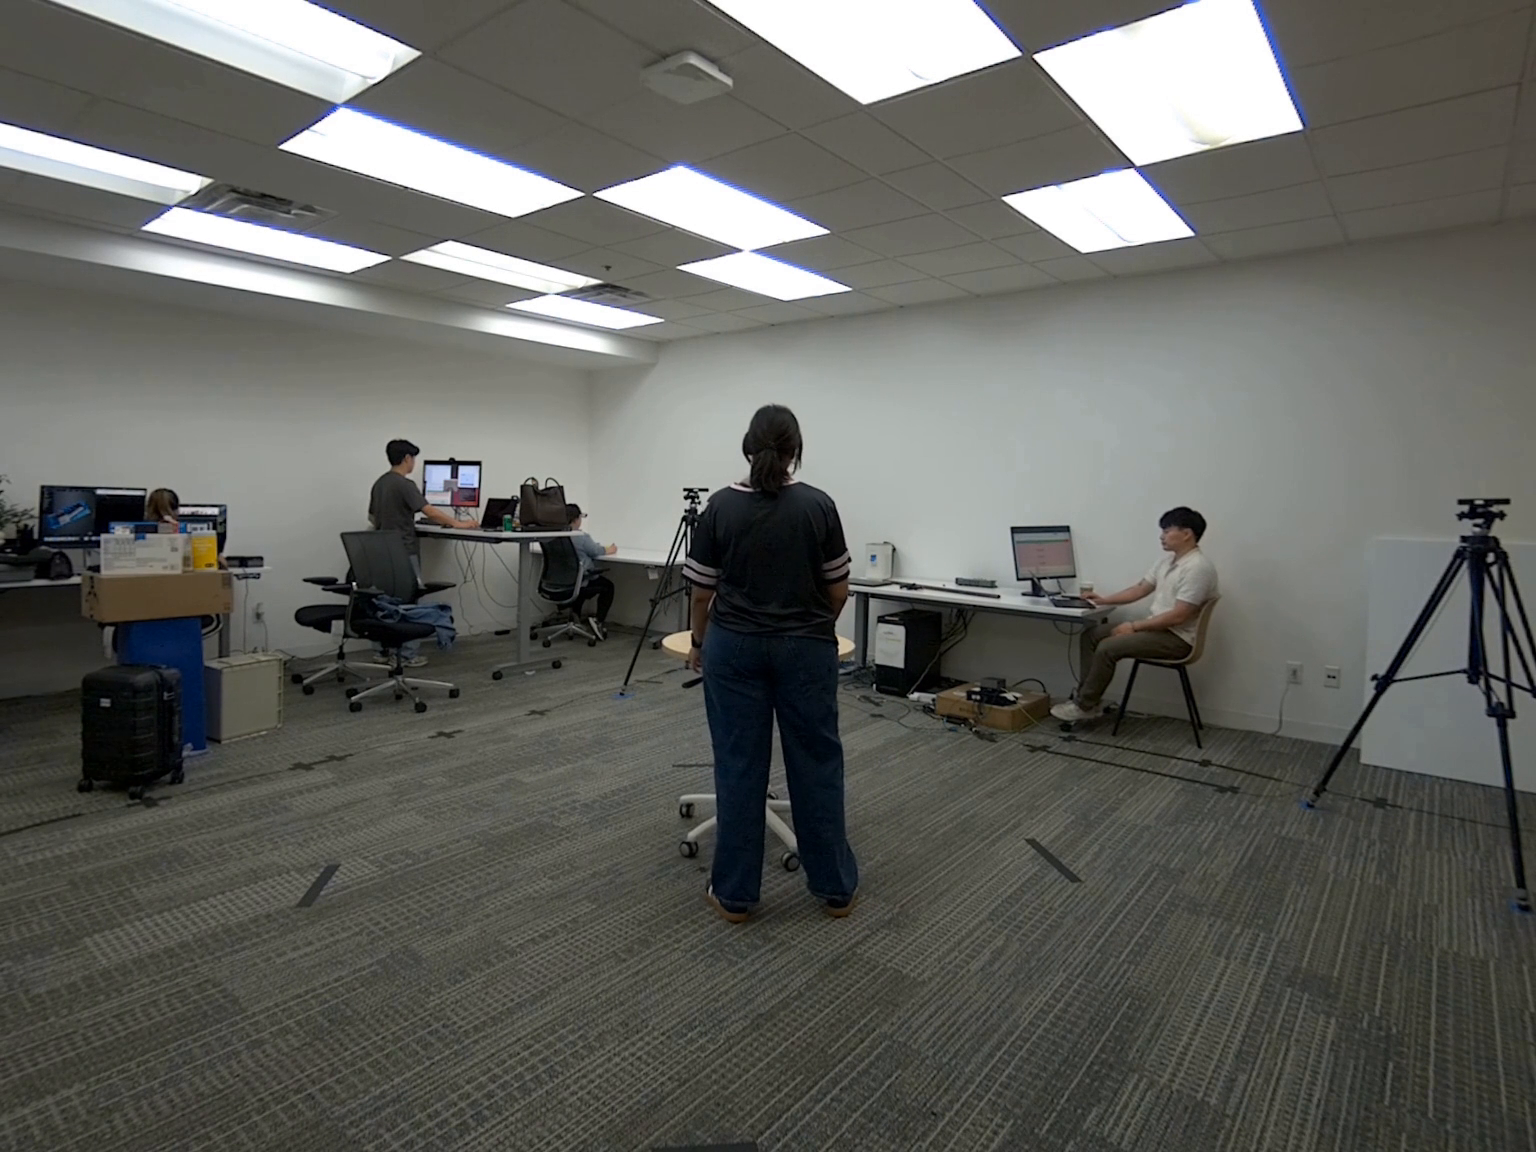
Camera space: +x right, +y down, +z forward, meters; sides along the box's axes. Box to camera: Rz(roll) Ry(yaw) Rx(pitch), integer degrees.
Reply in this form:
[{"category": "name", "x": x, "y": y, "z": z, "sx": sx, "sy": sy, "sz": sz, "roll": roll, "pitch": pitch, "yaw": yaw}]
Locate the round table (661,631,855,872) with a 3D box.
[{"category": "round table", "x": -0.057, "y": 0.650, "z": 3.412, "sx": 0.763, "sy": 0.792, "sz": 0.767, "roll": 1, "pitch": 4, "yaw": -2}]
